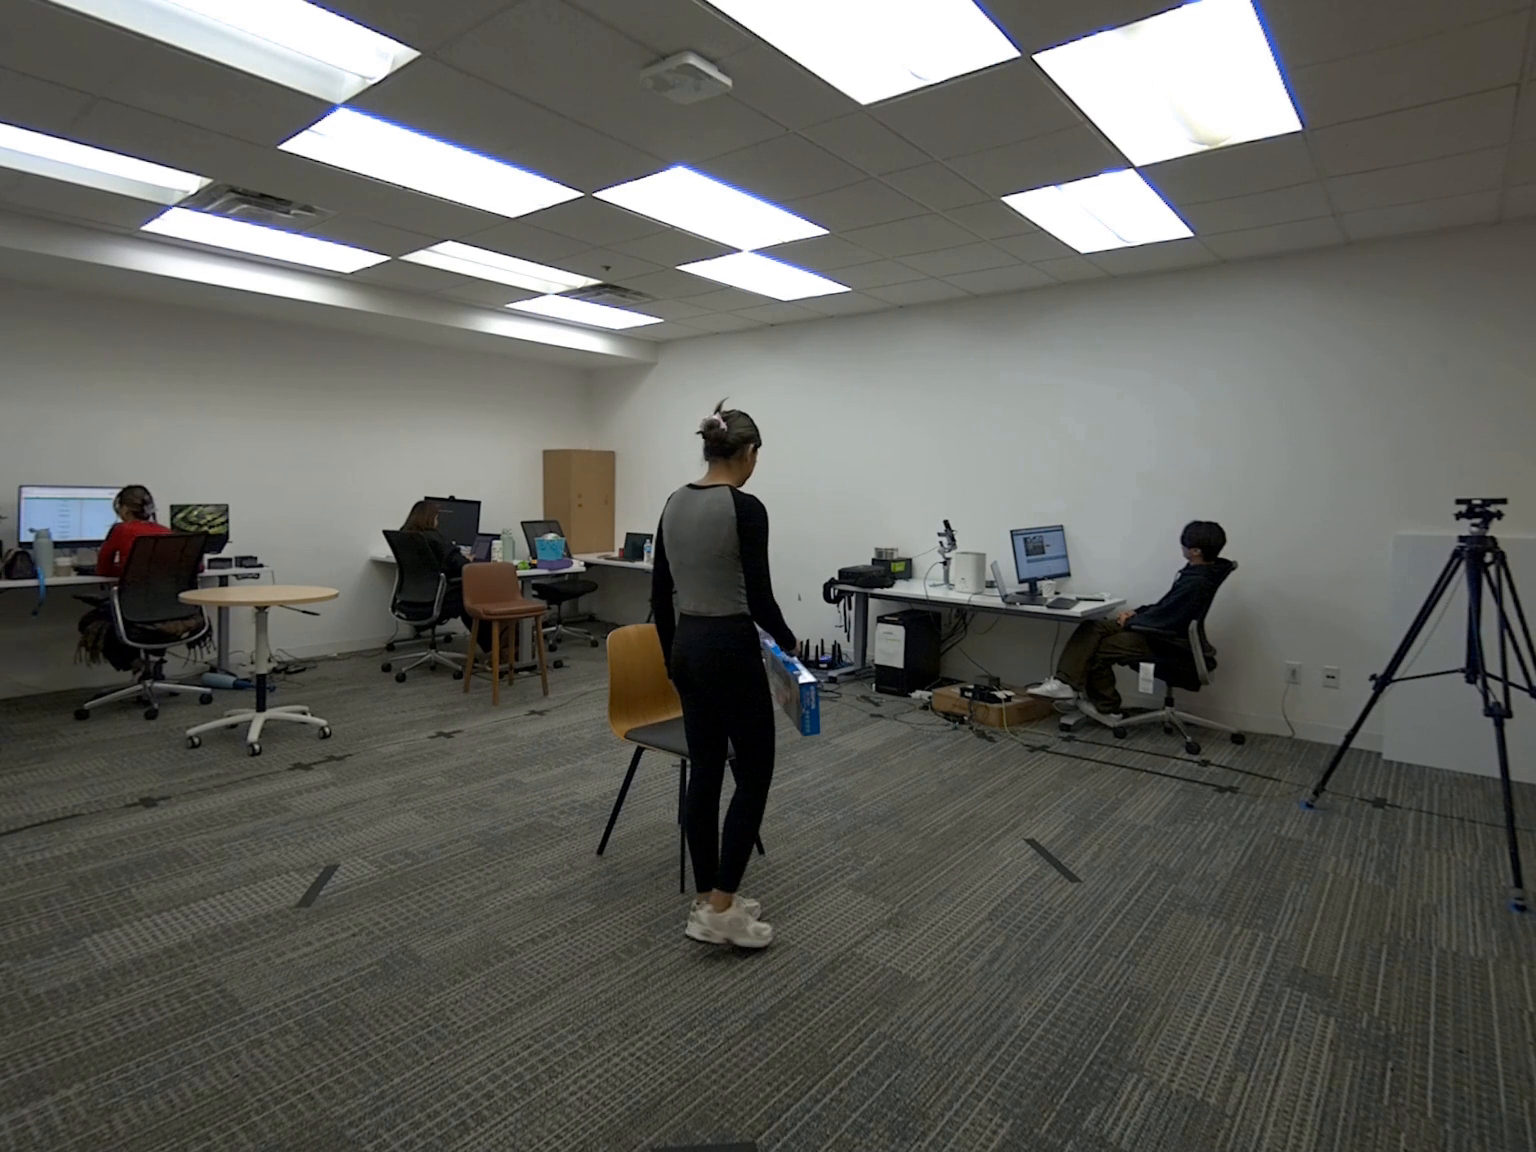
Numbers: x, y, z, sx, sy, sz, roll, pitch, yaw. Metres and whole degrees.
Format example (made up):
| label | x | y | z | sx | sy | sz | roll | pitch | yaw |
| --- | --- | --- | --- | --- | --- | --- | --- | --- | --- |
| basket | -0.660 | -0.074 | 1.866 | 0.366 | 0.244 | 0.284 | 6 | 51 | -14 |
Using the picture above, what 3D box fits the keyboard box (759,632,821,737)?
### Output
| label | x | y | z | sx | sy | sz | roll | pitch | yaw |
| --- | --- | --- | --- | --- | --- | --- | --- | --- | --- |
| keyboard box | 0.055 | 0.350 | 2.767 | 0.058 | 0.174 | 0.447 | -7 | 13 | -14 |
